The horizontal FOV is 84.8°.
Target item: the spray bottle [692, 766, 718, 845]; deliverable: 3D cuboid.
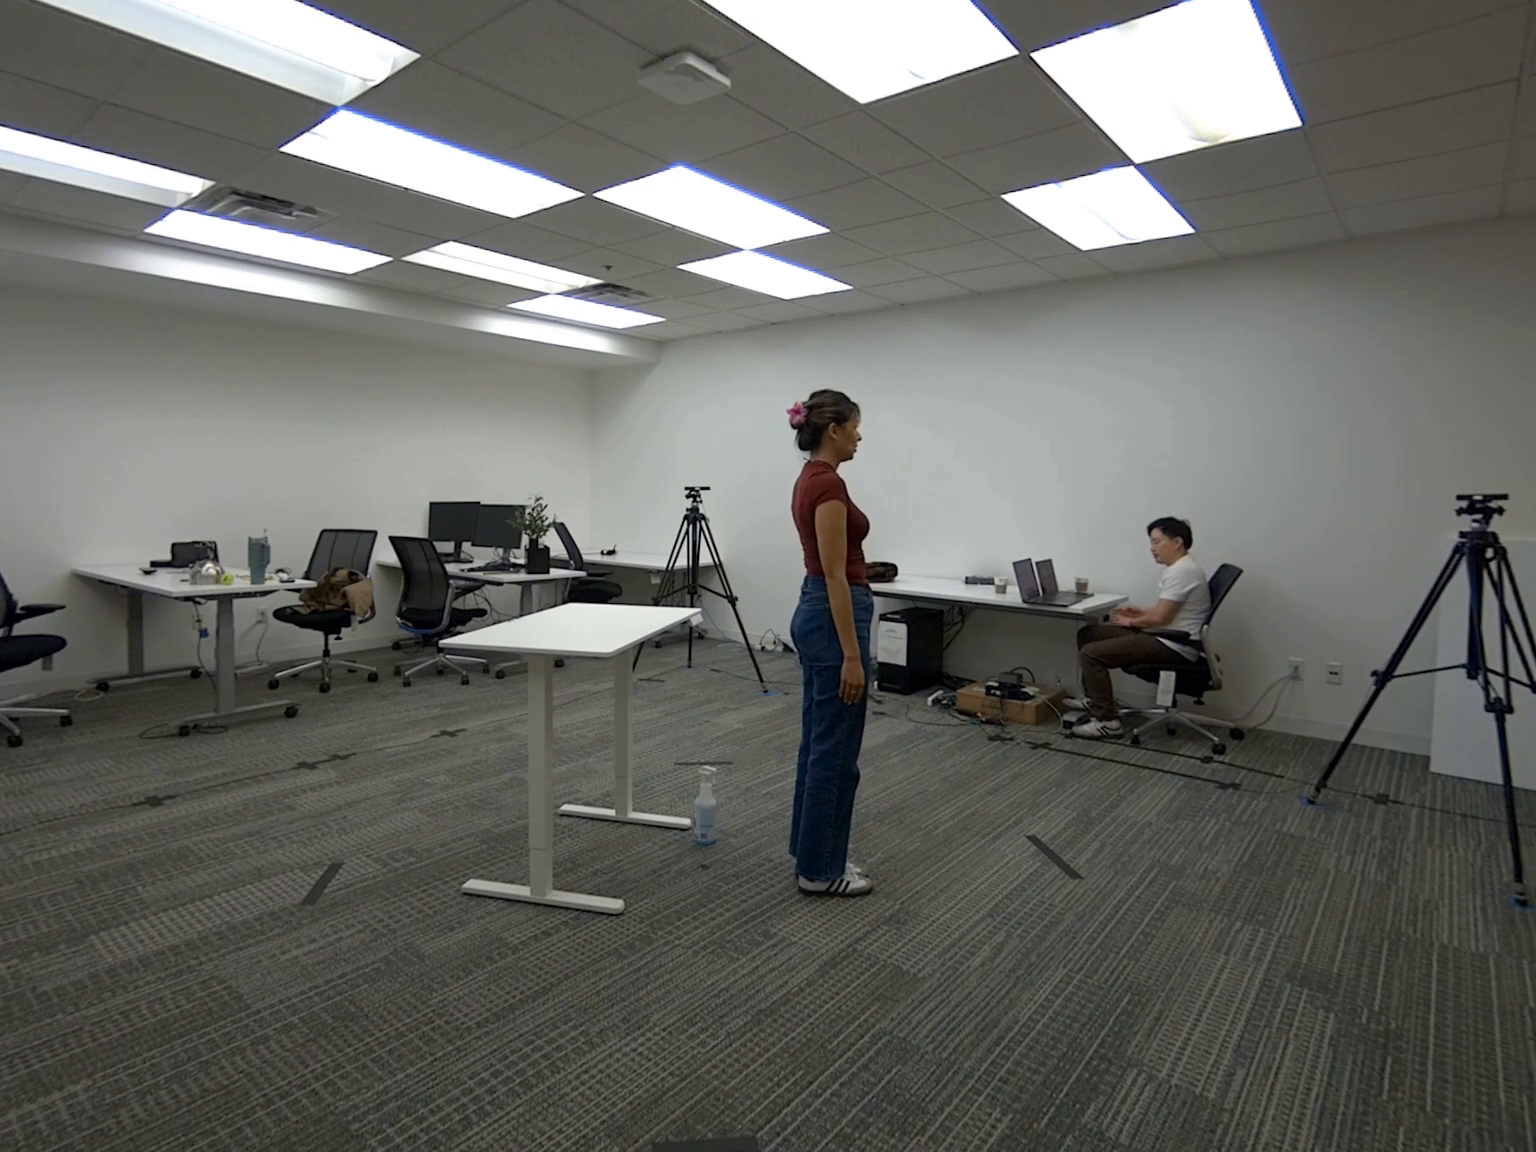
[{"bbox_3d":[-0.254,0.893,3.345,0.085,0.296,0.092,0,4,-20],"label":"spray bottle"}]
